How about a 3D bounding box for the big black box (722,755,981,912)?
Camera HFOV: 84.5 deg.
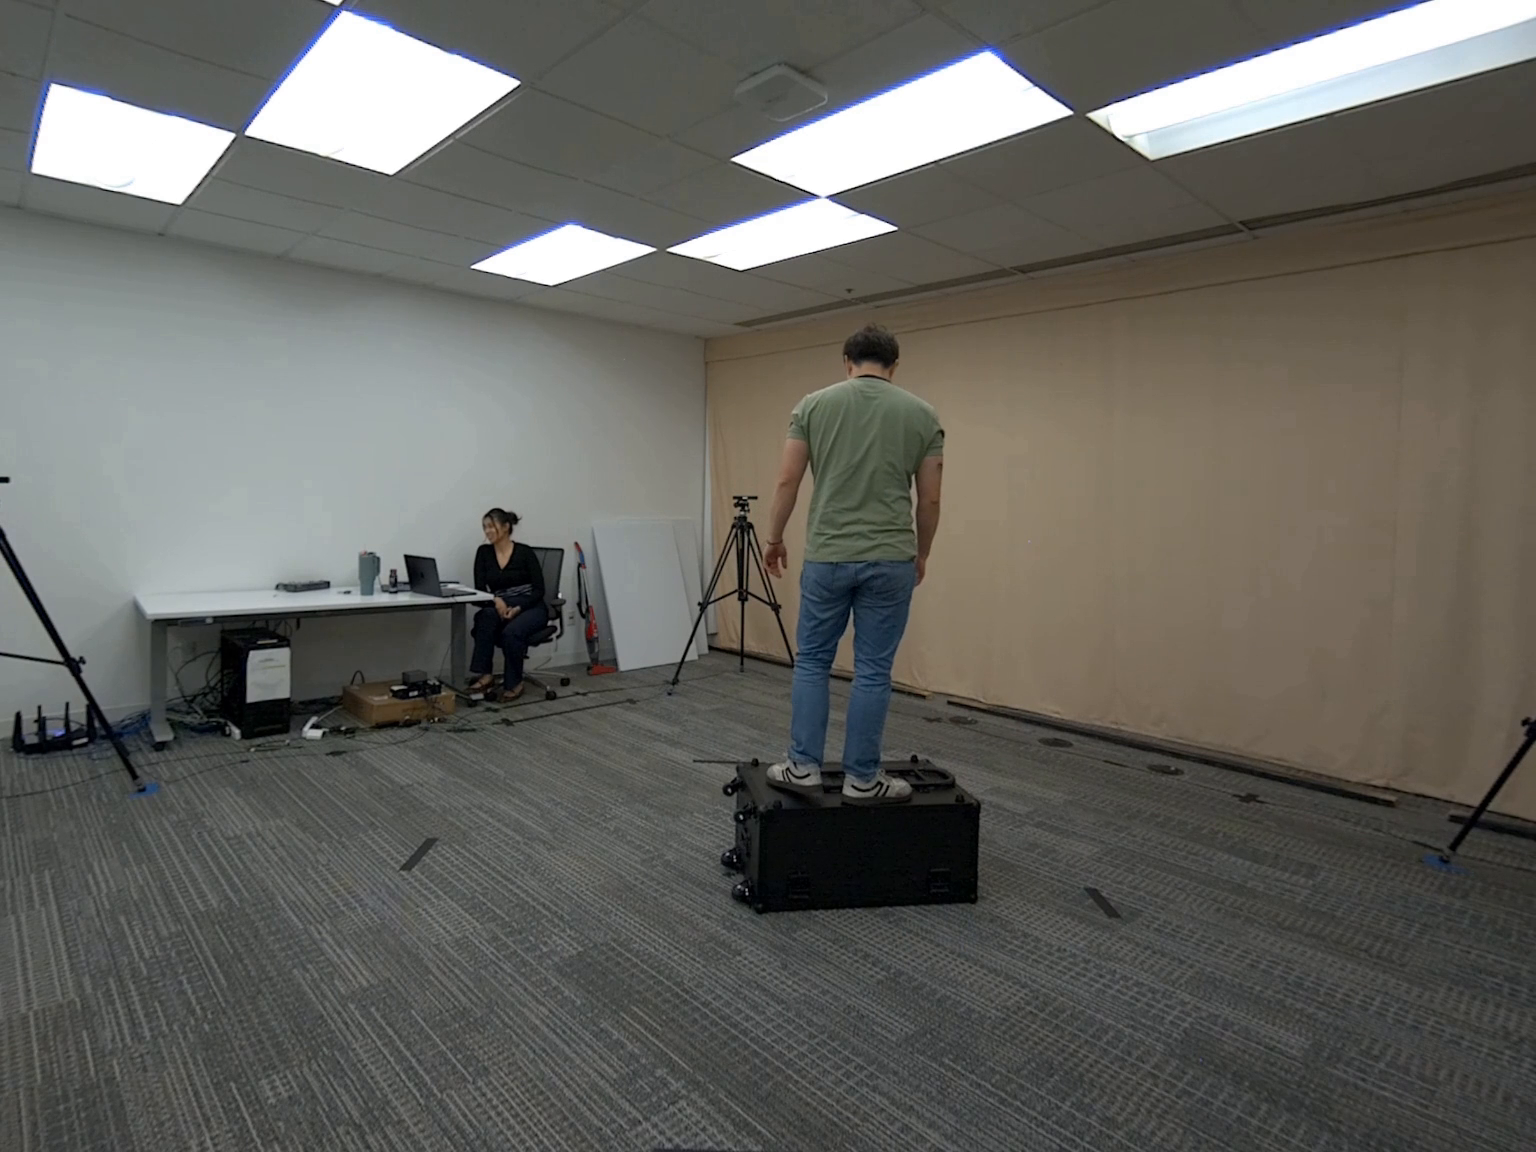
[{"bbox_3d":[0.268,0.922,3.085,0.855,0.395,0.527,-1,5,-10],"label":"big black box"}]
